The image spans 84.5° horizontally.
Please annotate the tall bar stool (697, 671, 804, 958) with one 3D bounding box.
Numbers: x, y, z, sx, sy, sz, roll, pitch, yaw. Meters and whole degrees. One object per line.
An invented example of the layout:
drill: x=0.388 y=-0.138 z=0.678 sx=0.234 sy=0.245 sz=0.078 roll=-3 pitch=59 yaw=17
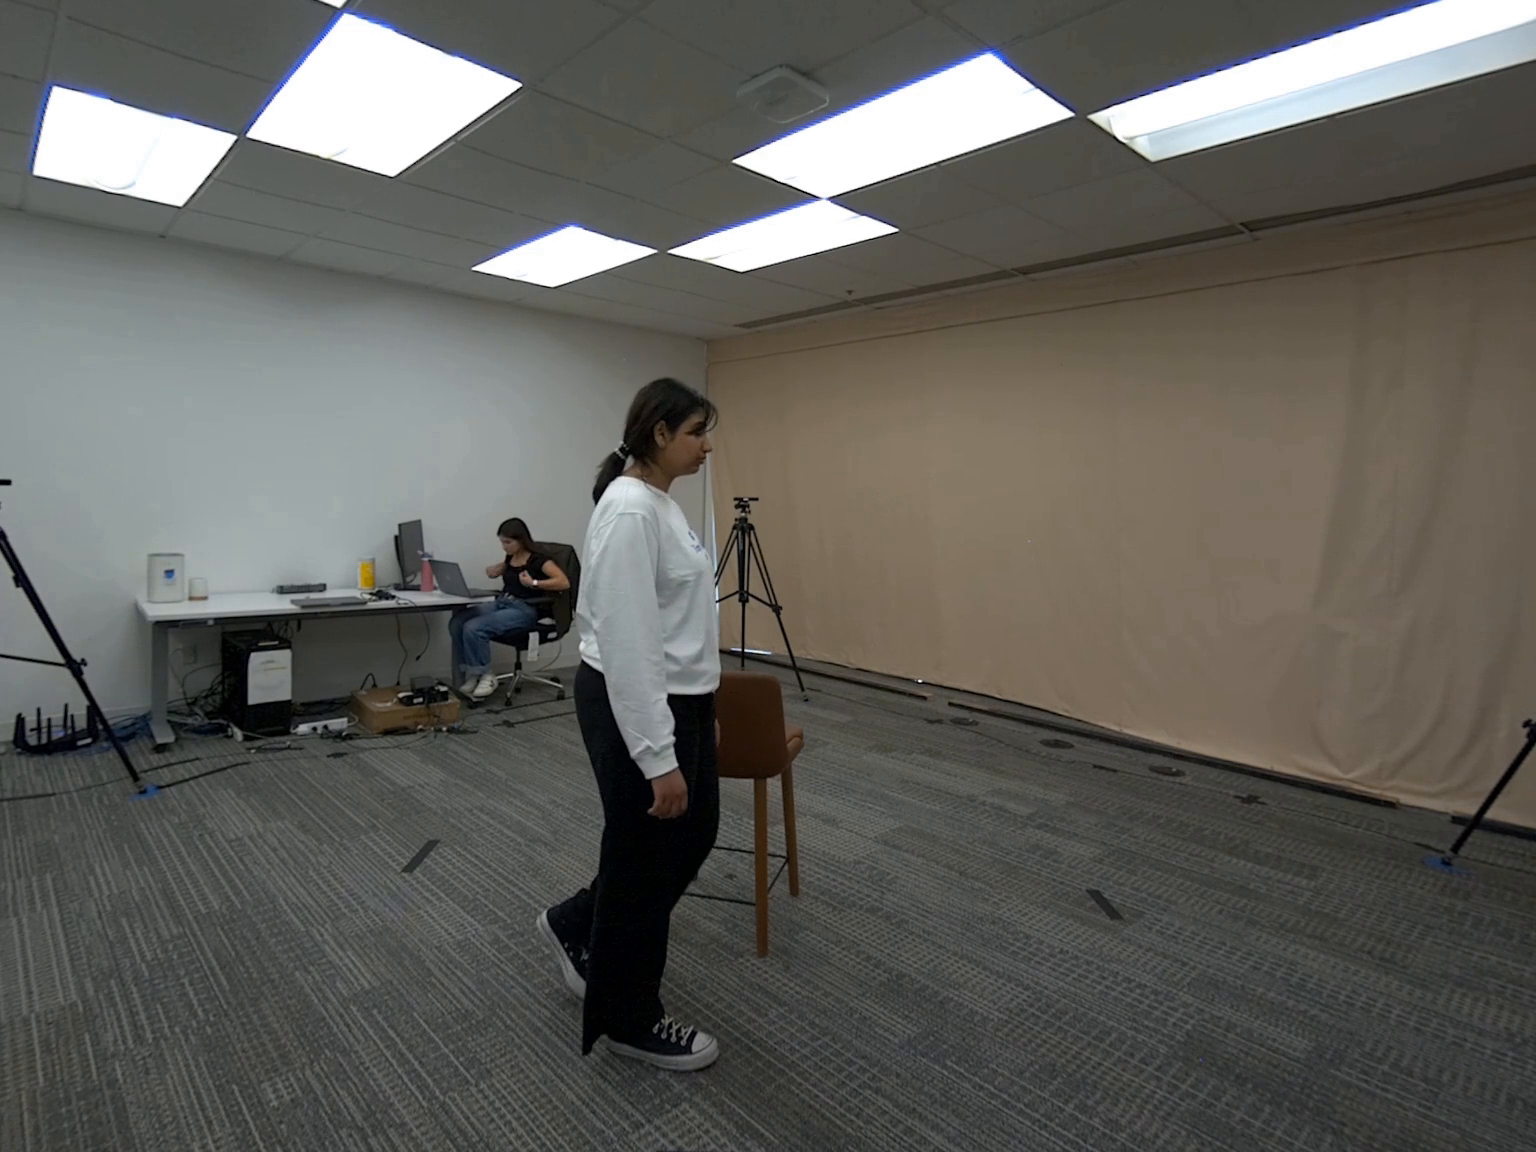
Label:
tall bar stool: x=-0.134 y=0.700 z=2.782 sx=0.462 sy=0.886 sz=0.463 roll=2 pitch=6 yaw=15
